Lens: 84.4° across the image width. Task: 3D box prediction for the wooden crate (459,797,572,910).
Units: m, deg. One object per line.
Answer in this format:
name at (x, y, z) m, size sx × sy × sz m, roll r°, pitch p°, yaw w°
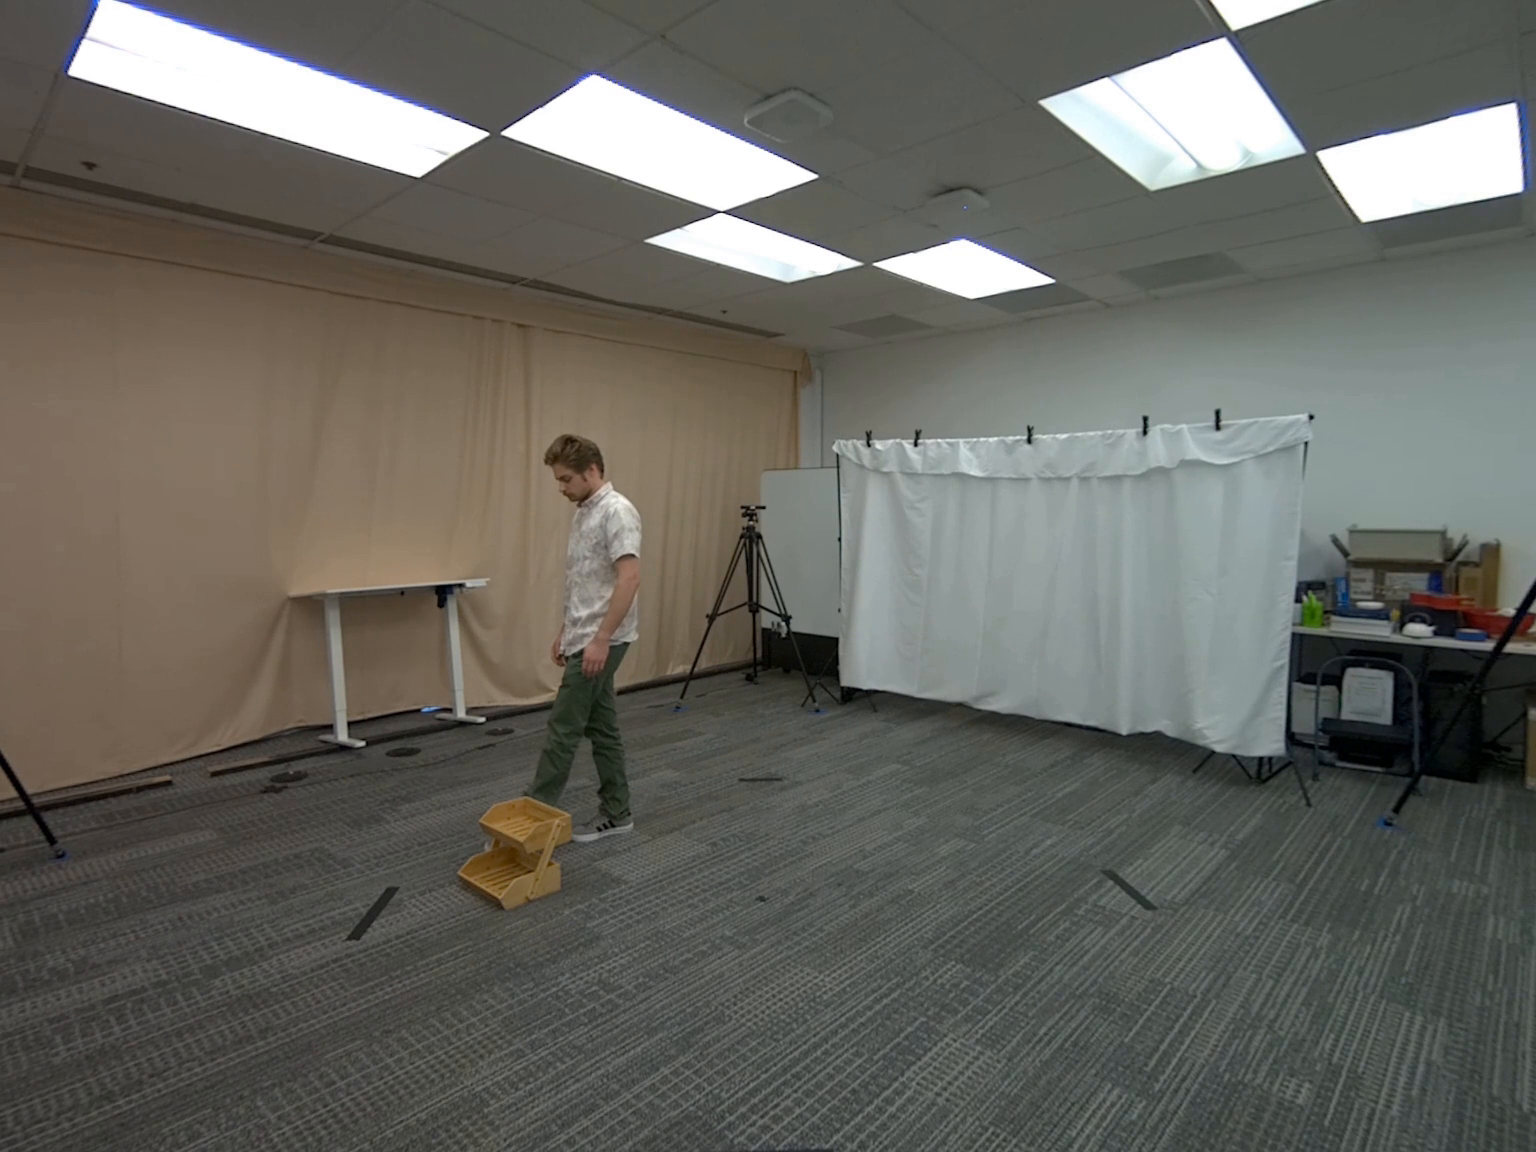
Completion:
wooden crate at (-0.939, 1.007, 3.106) m, size 0.335 × 0.273 × 0.293 m, roll 3°, pitch 4°, yaw 42°
